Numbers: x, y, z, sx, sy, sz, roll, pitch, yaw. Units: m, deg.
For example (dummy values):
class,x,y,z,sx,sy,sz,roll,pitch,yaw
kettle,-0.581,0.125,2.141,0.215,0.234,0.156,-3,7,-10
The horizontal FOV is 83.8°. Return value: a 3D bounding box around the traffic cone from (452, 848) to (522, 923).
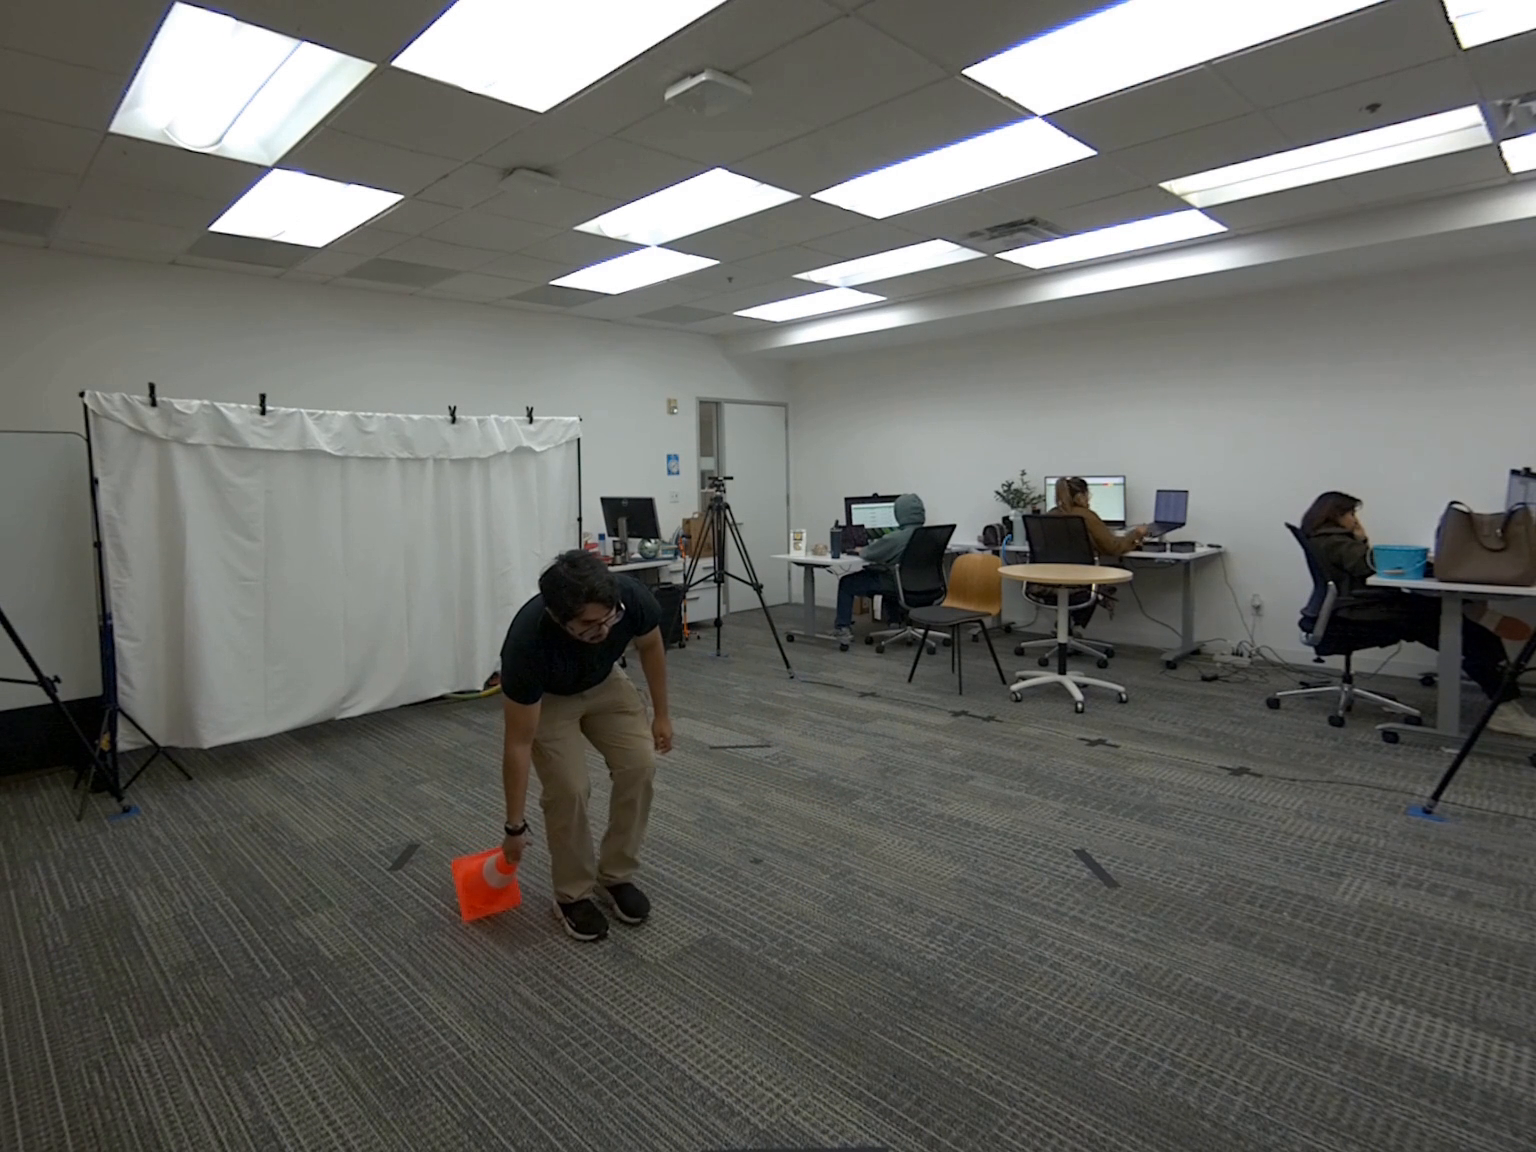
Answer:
class,x,y,z,sx,sy,sz,roll,pitch,yaw
traffic cone,-0.830,0.919,2.681,0.198,0.210,0.383,-2,-30,-36
